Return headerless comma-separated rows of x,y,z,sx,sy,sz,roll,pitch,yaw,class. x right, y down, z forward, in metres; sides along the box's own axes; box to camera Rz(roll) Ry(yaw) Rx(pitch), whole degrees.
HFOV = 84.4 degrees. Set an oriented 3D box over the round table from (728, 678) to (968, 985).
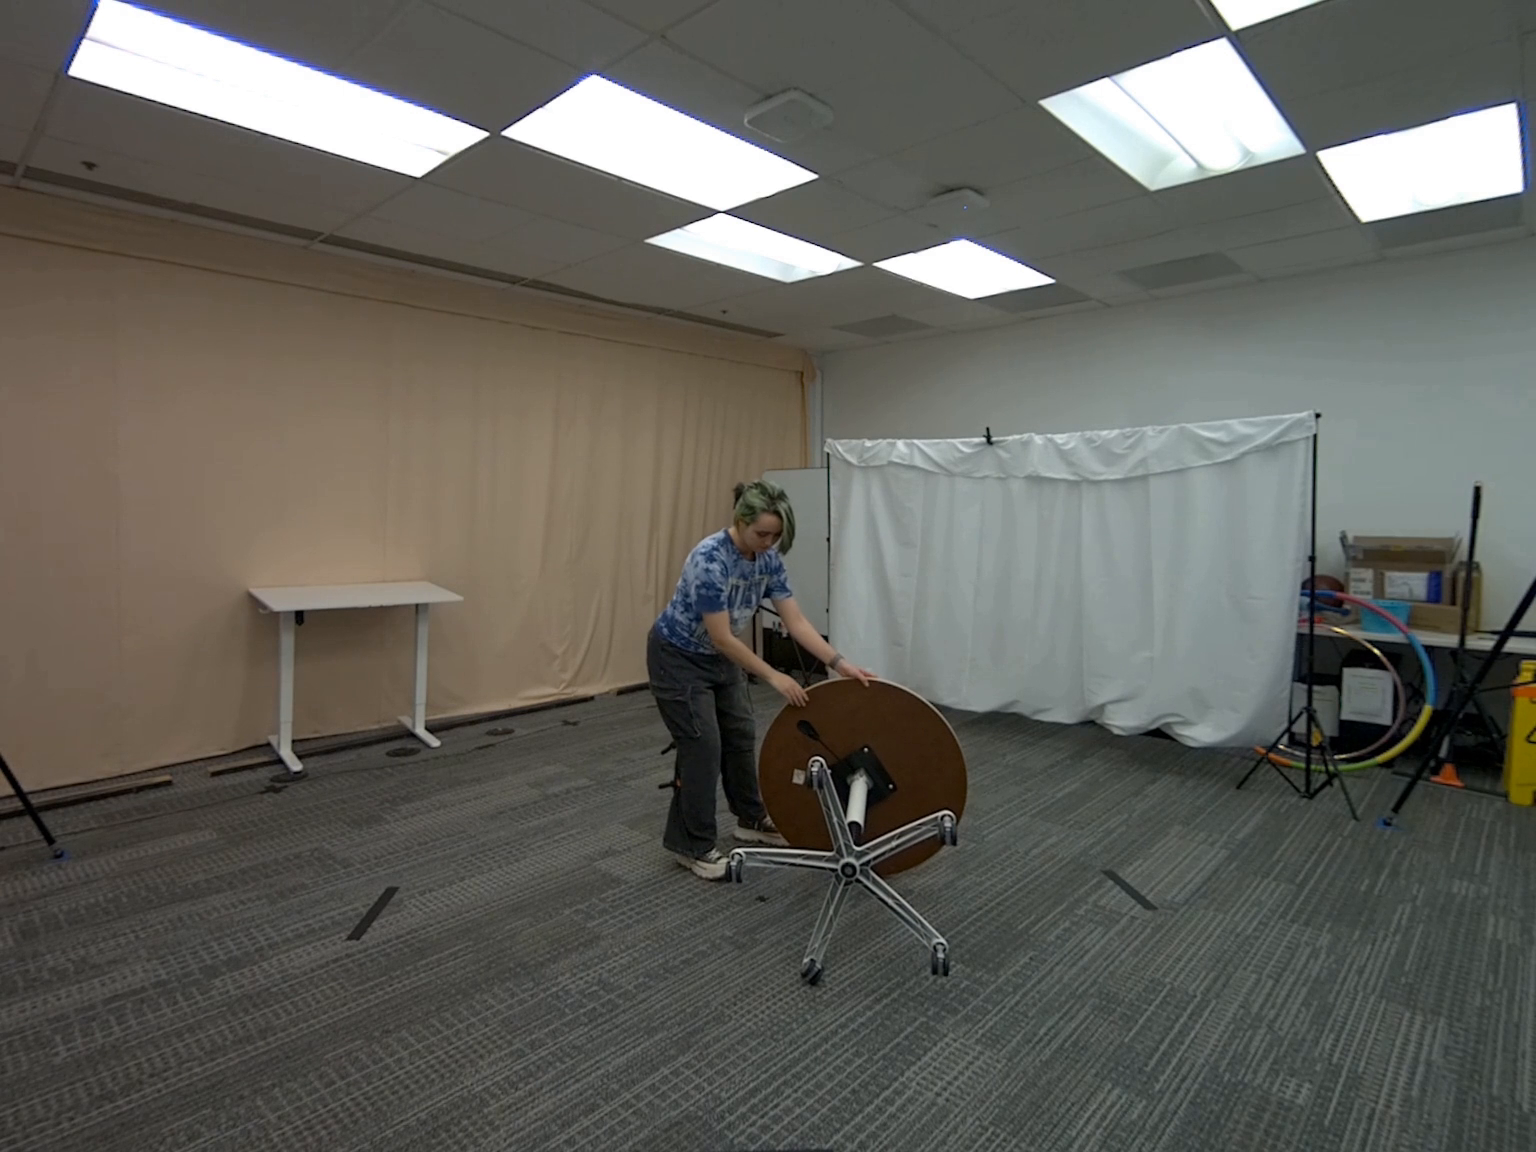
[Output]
0.284,0.814,2.750,0.774,0.760,0.788,1,9,11,round table
